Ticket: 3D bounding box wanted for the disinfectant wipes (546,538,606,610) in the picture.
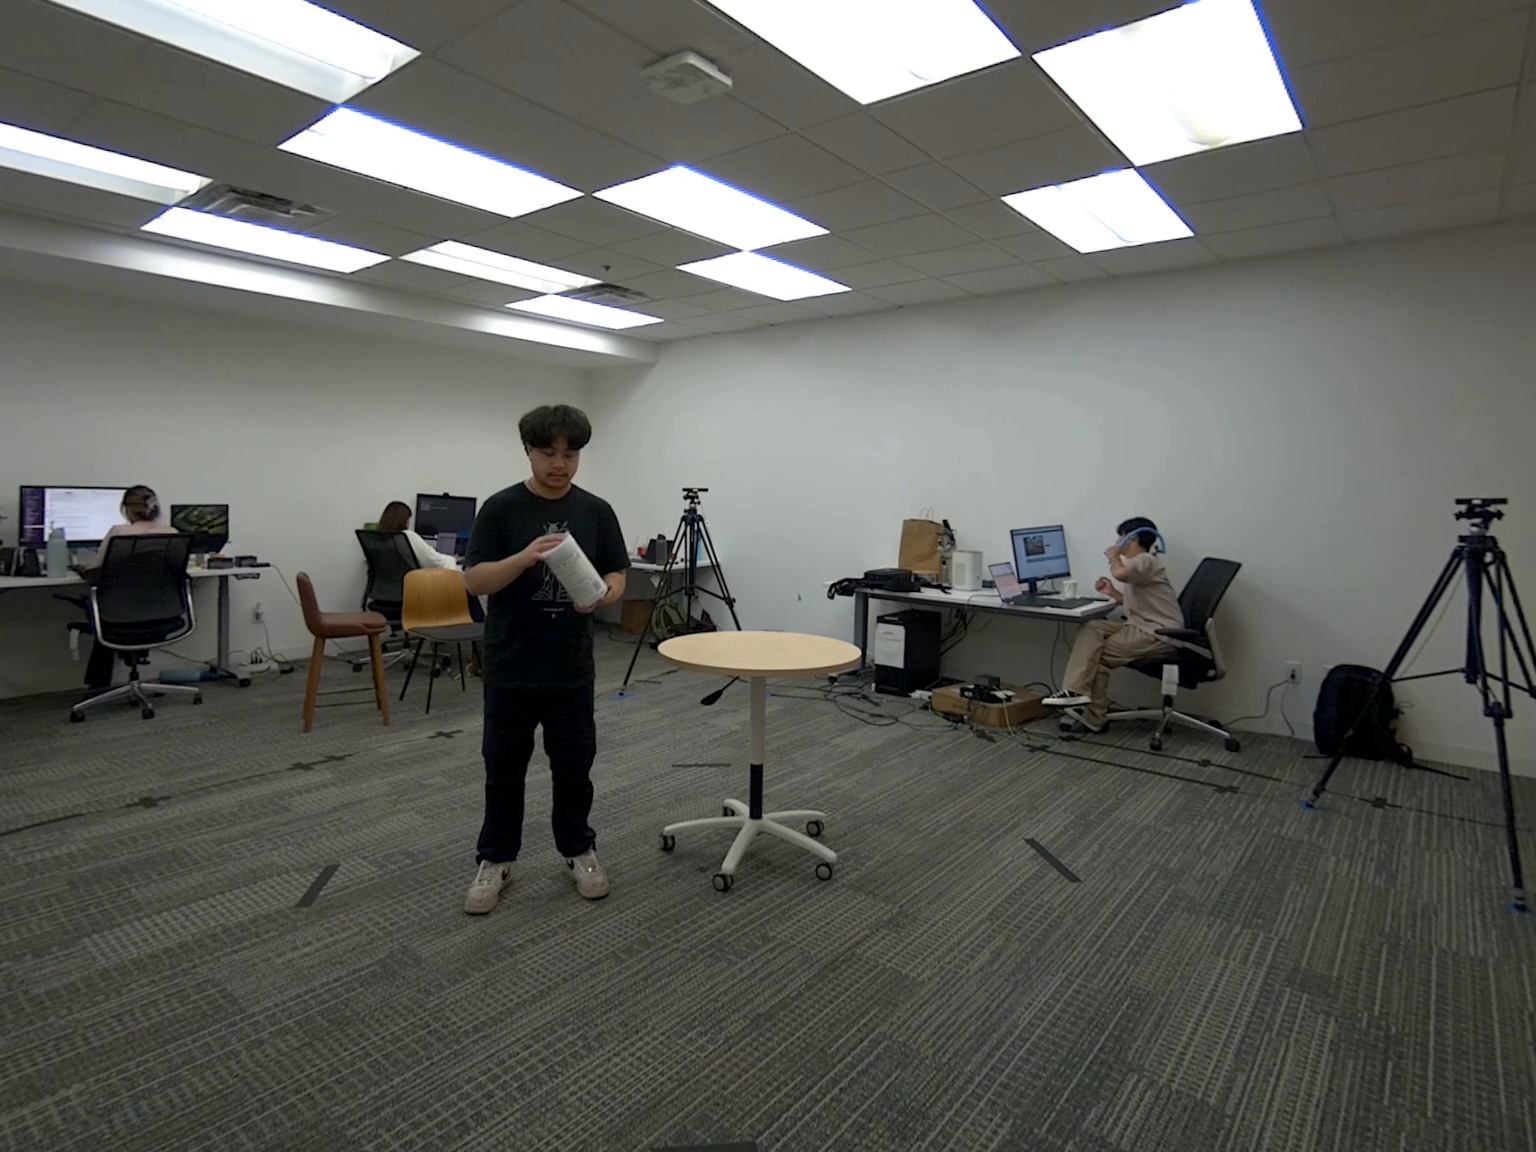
[{"bbox_3d":[-0.613,-0.015,2.615,0.118,0.212,0.120,-21,21,7],"label":"disinfectant wipes"}]
